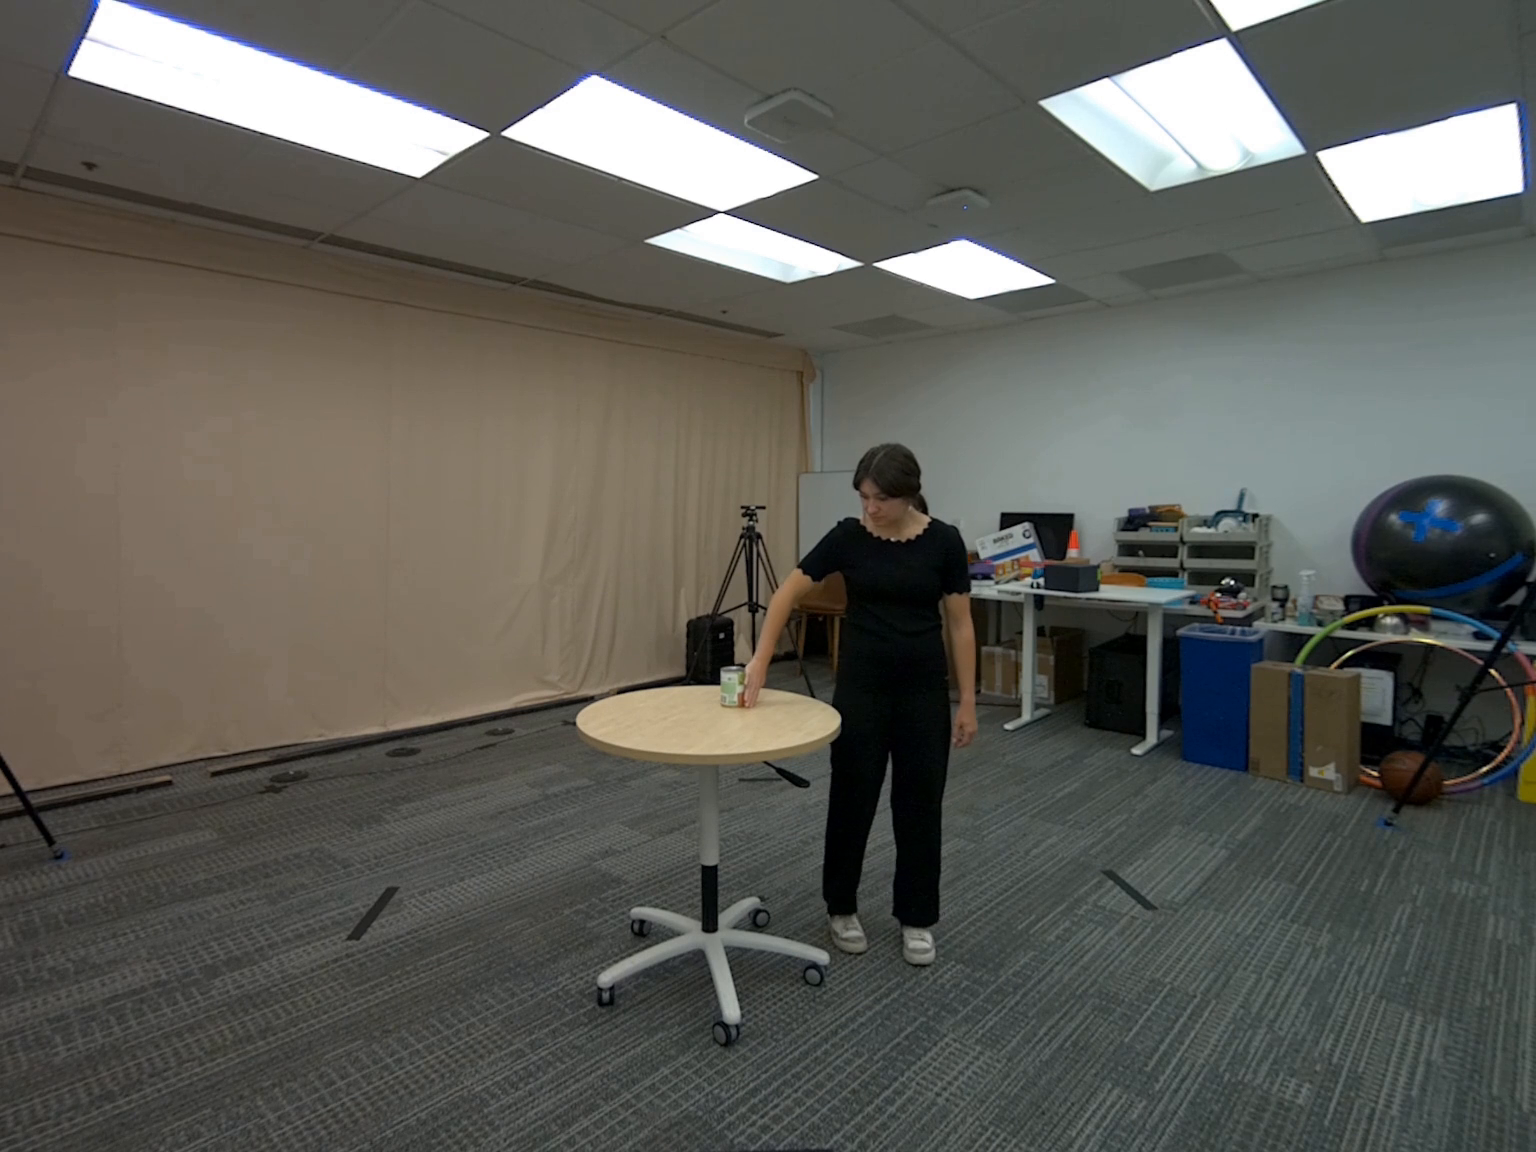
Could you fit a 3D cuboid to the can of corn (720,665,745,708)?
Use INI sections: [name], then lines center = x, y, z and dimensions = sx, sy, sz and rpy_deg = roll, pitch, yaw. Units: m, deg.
[can of corn]
center = -0.098, 0.342, 2.568
dimensions = 0.074, 0.111, 0.074
rpy_deg = 1, 4, -2
